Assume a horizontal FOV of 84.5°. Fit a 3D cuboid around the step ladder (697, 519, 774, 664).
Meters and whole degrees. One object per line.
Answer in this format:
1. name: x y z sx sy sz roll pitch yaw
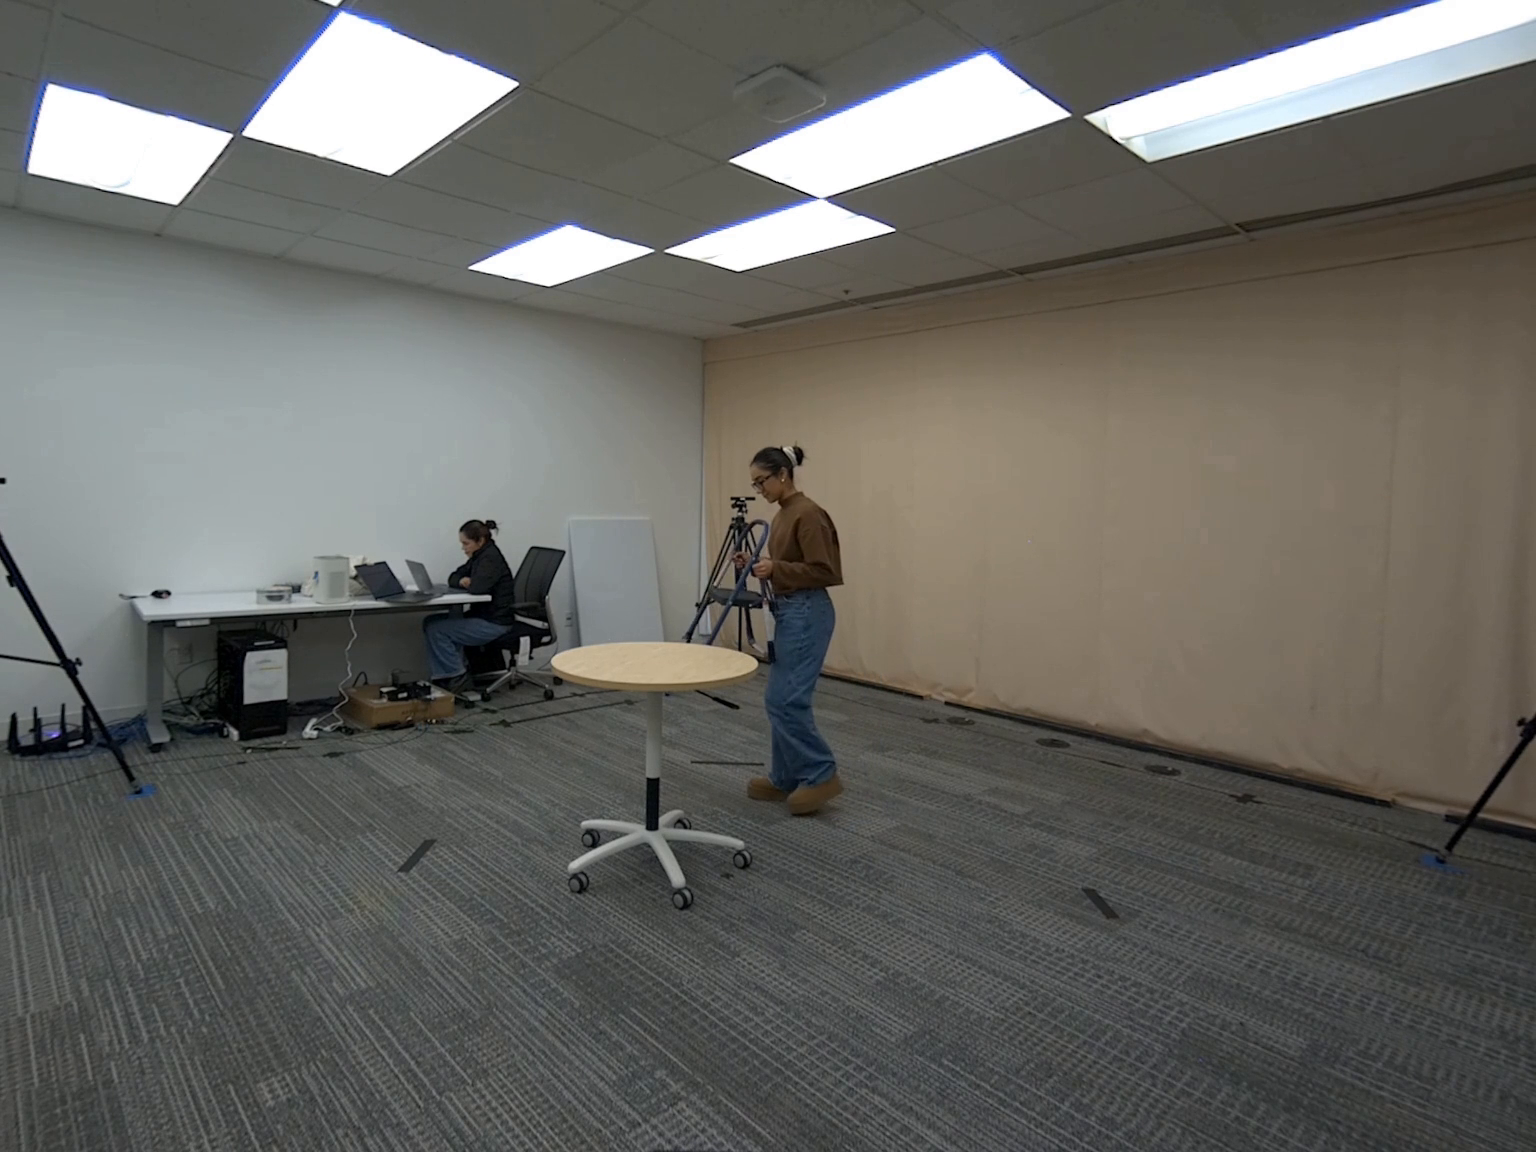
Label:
1. step ladder: -0.148 0.040 3.802 0.344 0.605 0.437 8 2 -16
